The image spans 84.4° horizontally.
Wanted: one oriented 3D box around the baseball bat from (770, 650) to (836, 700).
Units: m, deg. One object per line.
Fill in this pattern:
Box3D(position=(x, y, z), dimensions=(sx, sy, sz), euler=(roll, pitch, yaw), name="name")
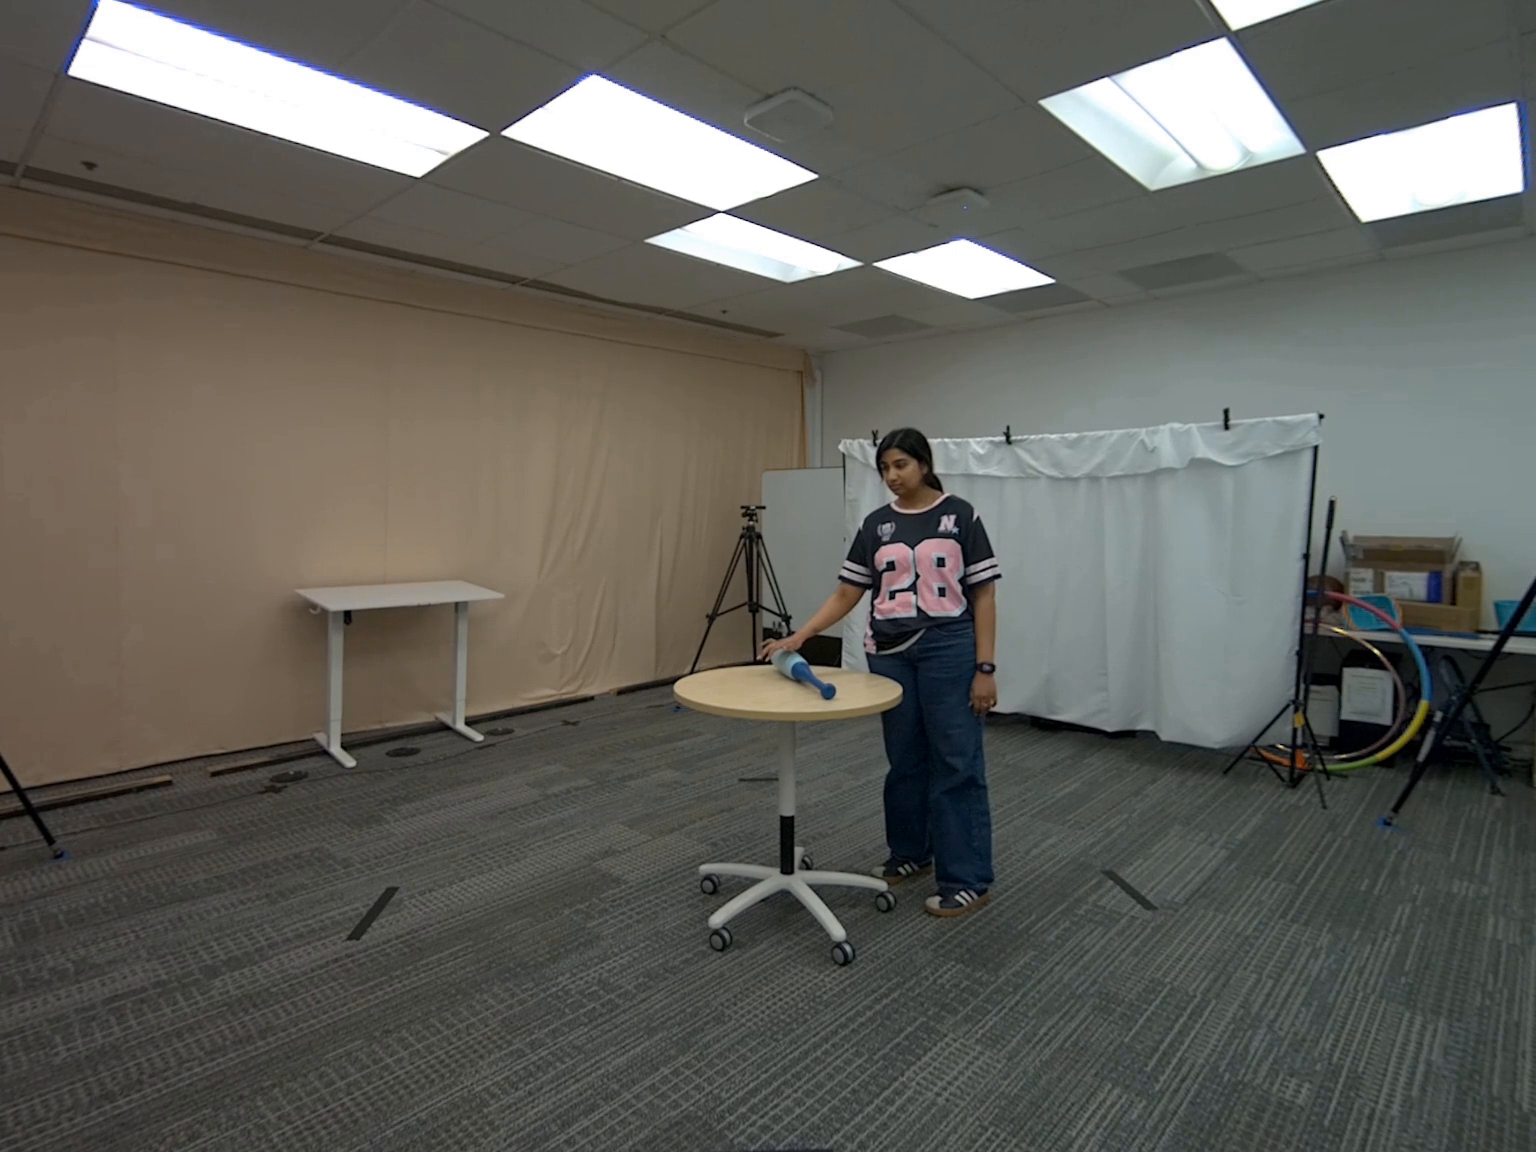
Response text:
Box3D(position=(0.126, 0.334, 2.875), dimensions=(0.088, 0.089, 0.553), euler=(-1, 7, -16), name="baseball bat")
